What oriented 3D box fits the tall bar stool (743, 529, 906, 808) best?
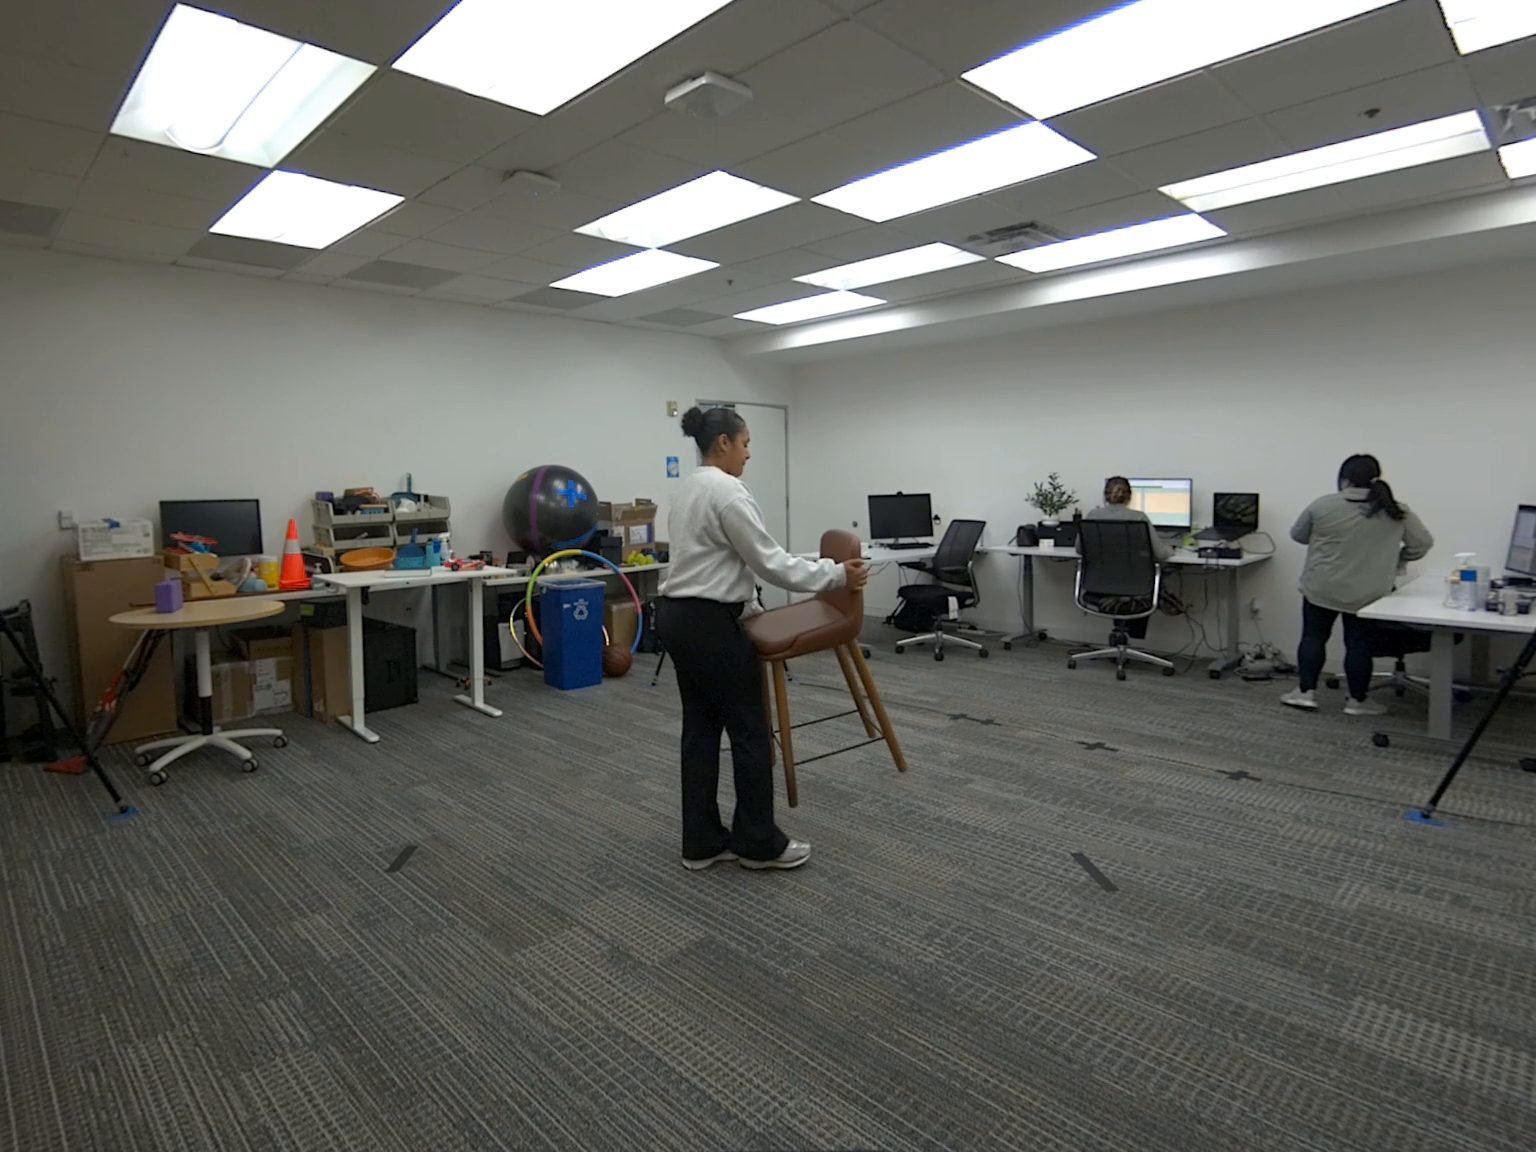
[{"bbox_3d":[0.168,0.326,3.184,0.465,0.878,0.465,-13,12,-8],"label":"tall bar stool"}]
